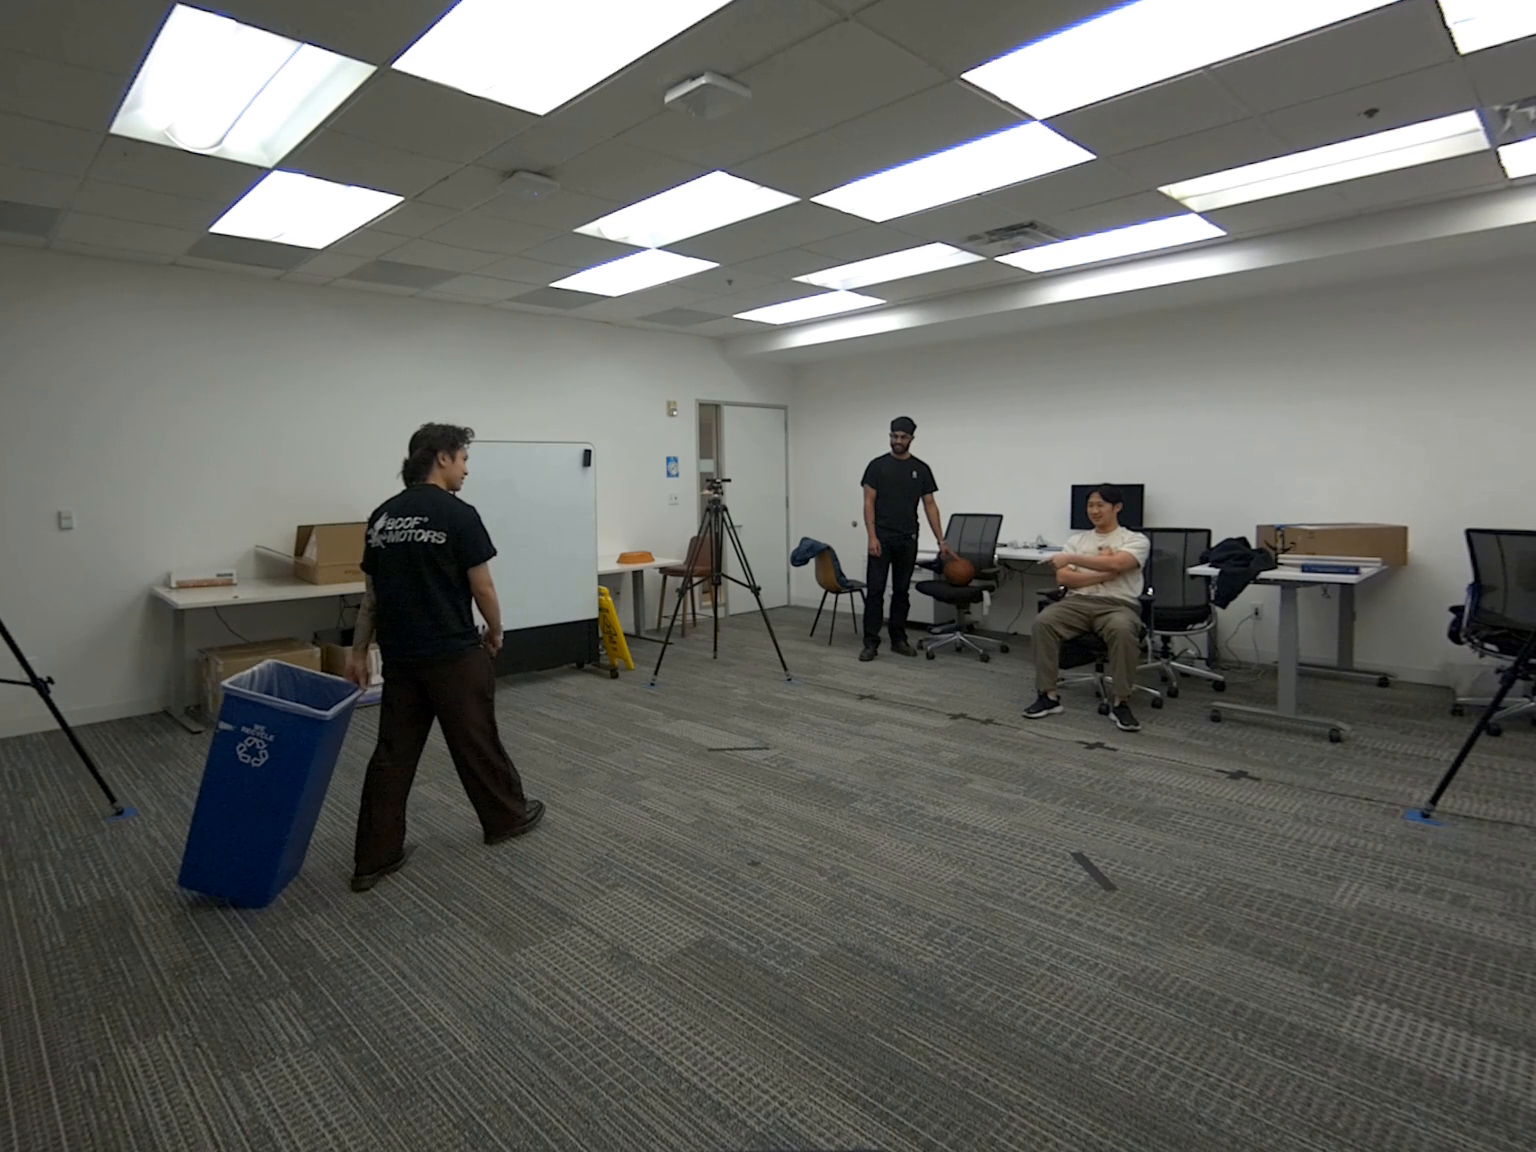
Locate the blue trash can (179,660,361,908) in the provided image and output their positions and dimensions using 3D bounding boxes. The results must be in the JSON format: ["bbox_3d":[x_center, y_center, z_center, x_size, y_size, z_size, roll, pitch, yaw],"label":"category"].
[{"bbox_3d":[-1.727,0.719,2.968,0.371,0.712,0.382,16,4,-8],"label":"blue trash can"}]
